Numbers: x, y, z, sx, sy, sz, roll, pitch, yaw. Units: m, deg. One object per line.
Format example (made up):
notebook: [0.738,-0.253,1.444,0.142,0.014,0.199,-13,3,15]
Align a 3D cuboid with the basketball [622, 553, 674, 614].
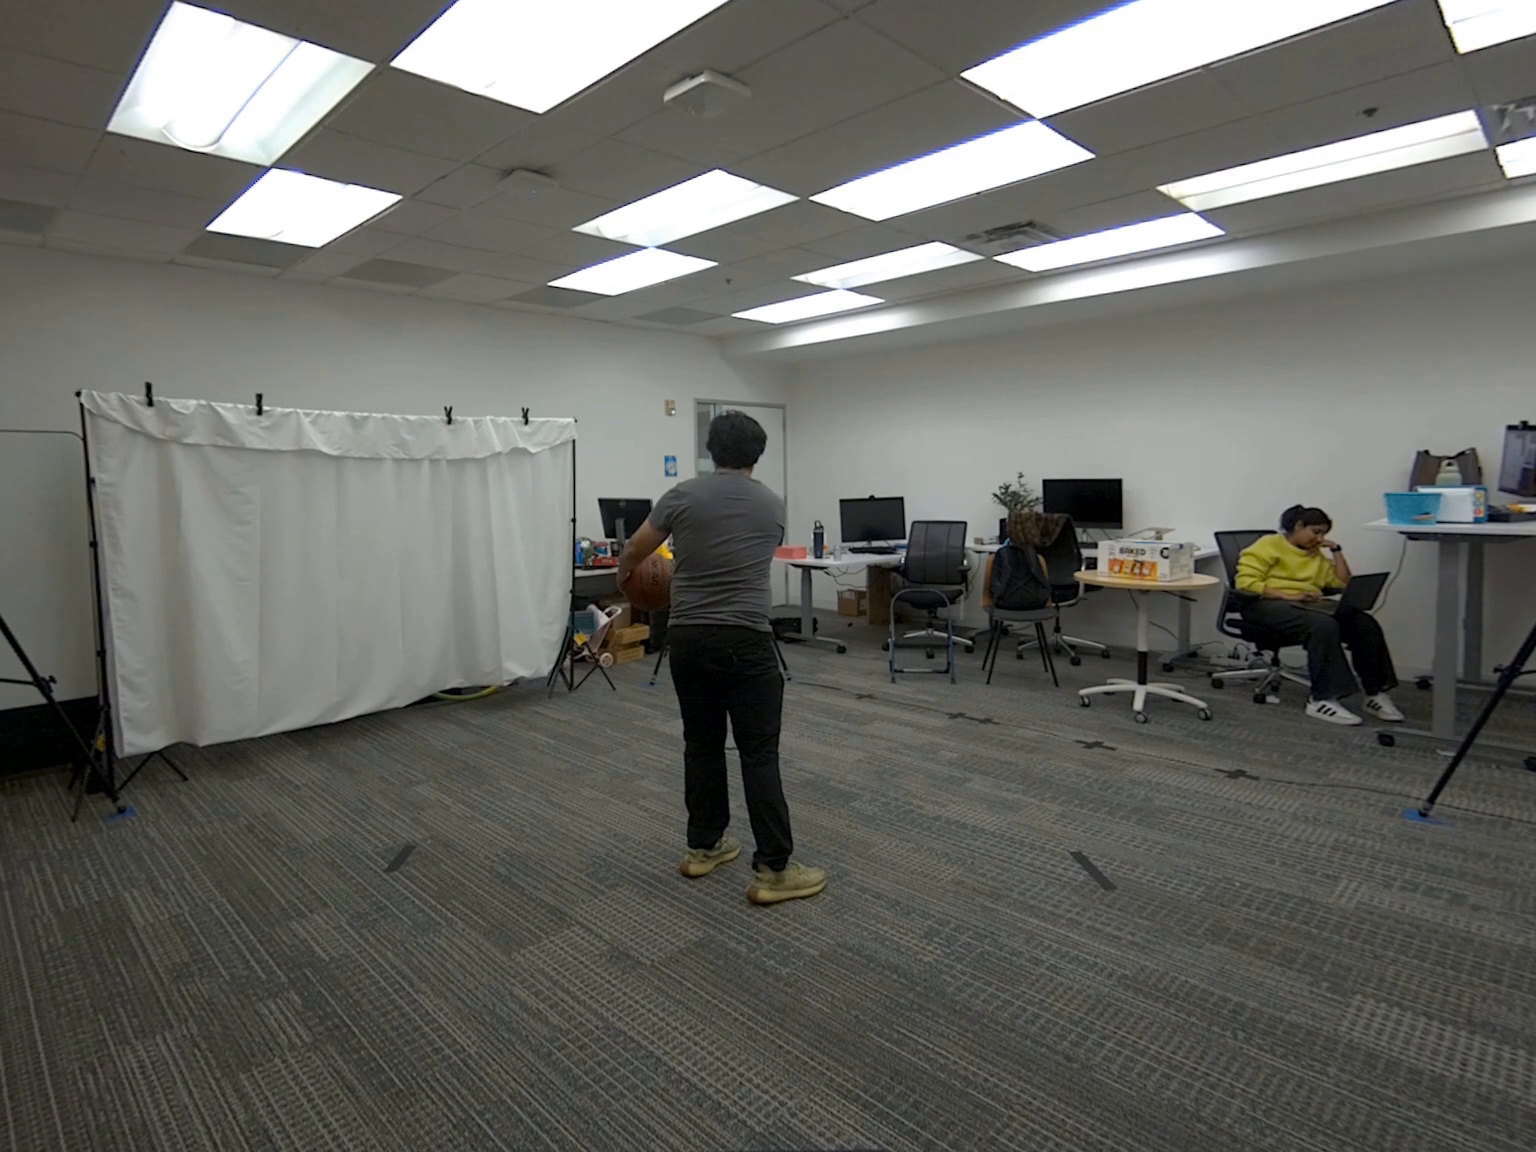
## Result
basketball: [-0.478,0.026,3.473,0.236,0.235,0.237,-1,5,-2]
